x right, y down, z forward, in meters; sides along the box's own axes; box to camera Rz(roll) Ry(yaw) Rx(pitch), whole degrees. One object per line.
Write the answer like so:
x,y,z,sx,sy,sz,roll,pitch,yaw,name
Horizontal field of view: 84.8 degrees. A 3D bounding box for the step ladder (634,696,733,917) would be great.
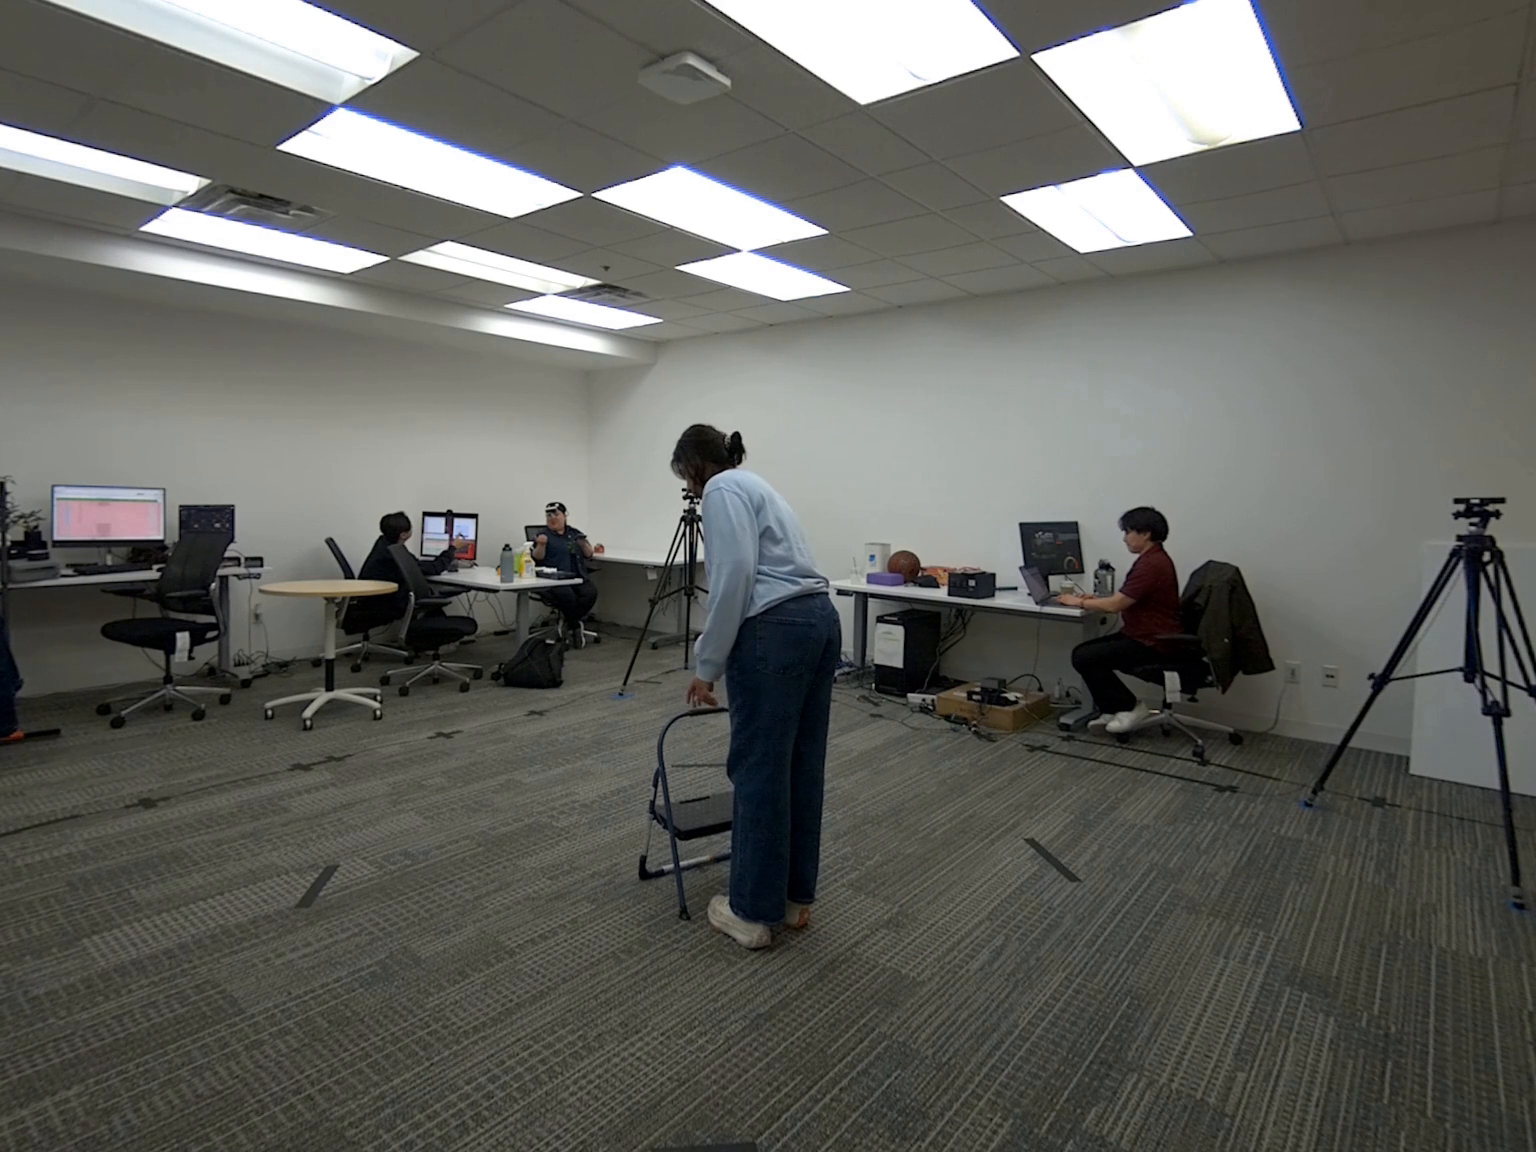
-0.195,0.777,2.976,0.418,0.604,0.361,0,4,-34,step ladder
